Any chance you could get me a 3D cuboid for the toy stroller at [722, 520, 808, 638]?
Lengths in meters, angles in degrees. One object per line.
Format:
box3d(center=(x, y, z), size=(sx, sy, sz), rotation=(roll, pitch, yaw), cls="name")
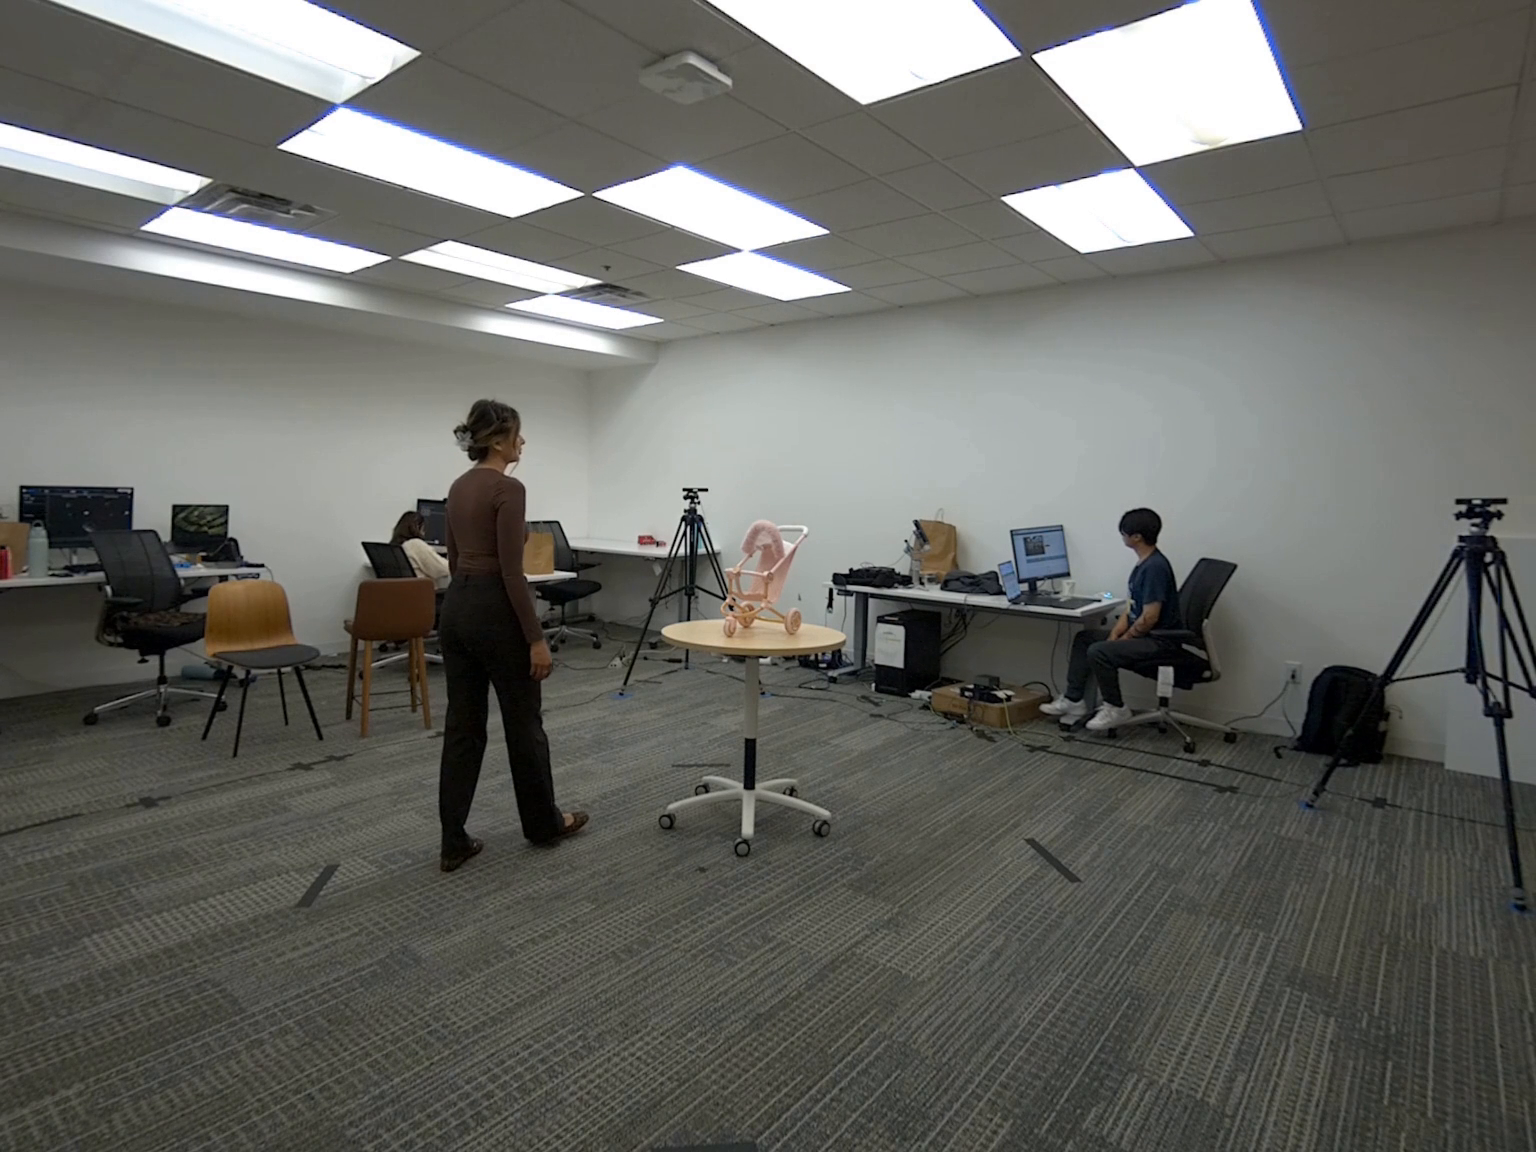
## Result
box3d(center=(-0.041, 0.009, 3.553), size=(0.291, 0.538, 0.328), rotation=(4, -10, 45), cls="toy stroller")
